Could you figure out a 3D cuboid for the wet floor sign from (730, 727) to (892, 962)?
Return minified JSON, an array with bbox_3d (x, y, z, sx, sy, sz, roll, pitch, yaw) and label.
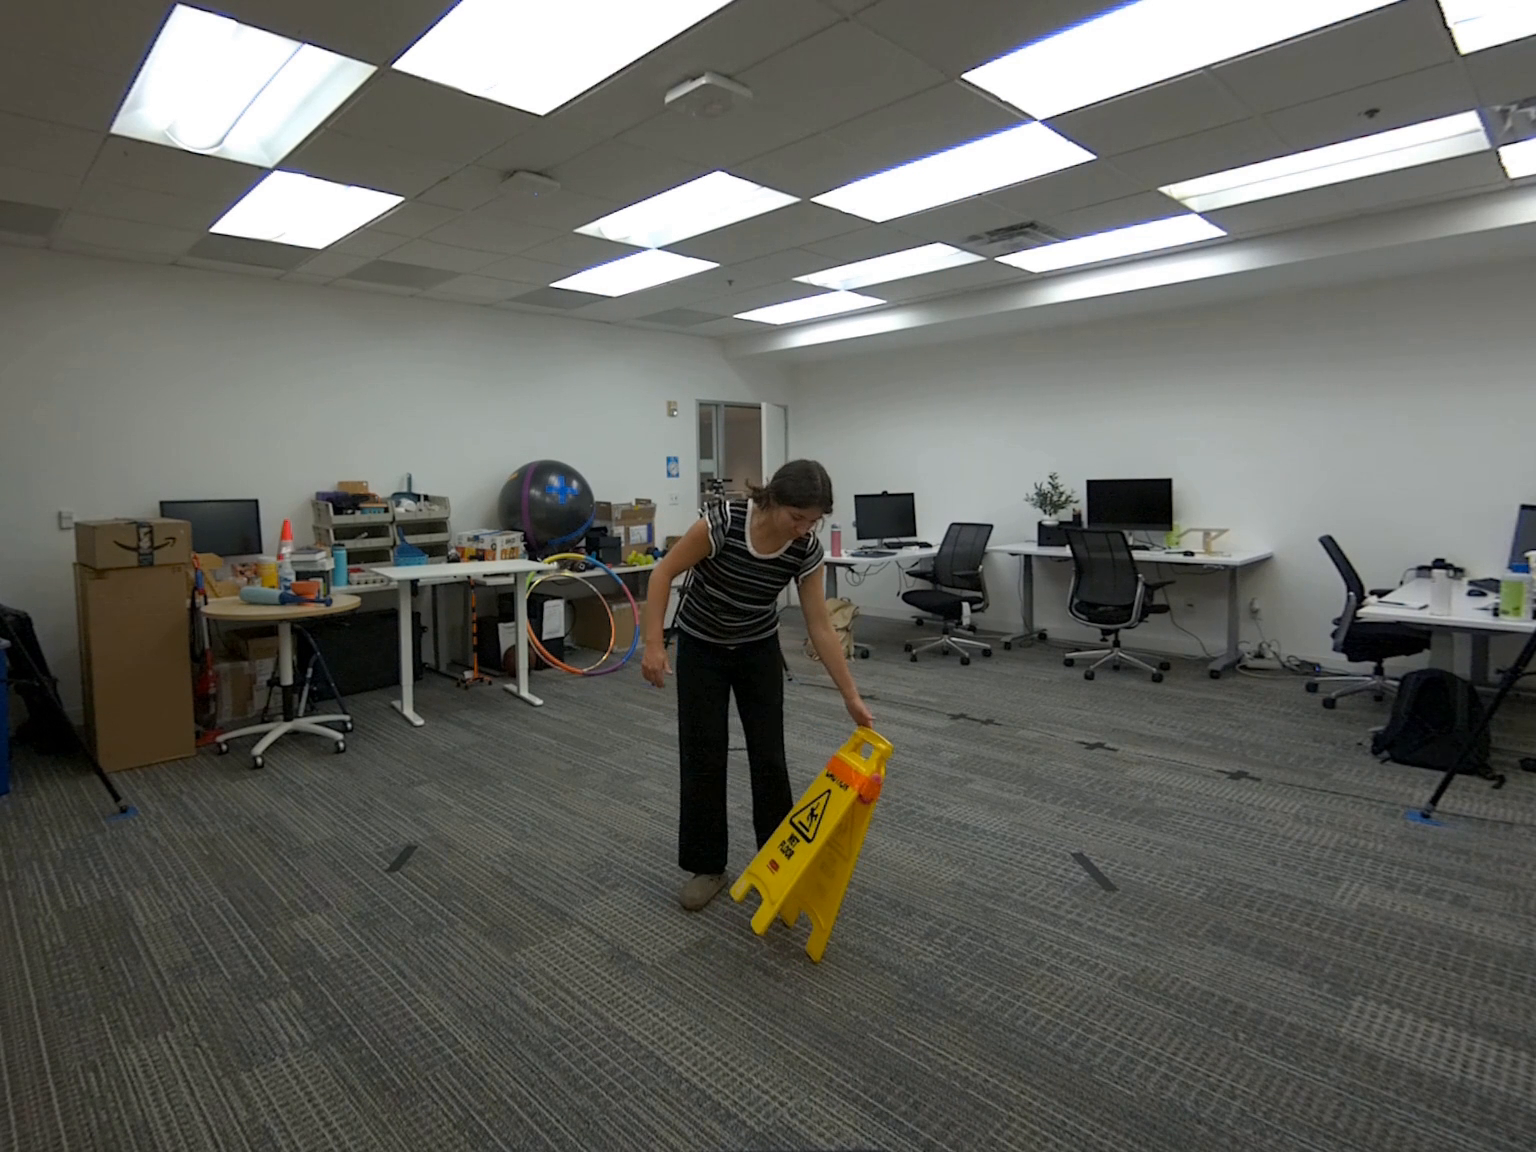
[{"bbox_3d":[0.176,0.773,2.582,0.284,0.647,0.288,31,-7,-17],"label":"wet floor sign"}]
